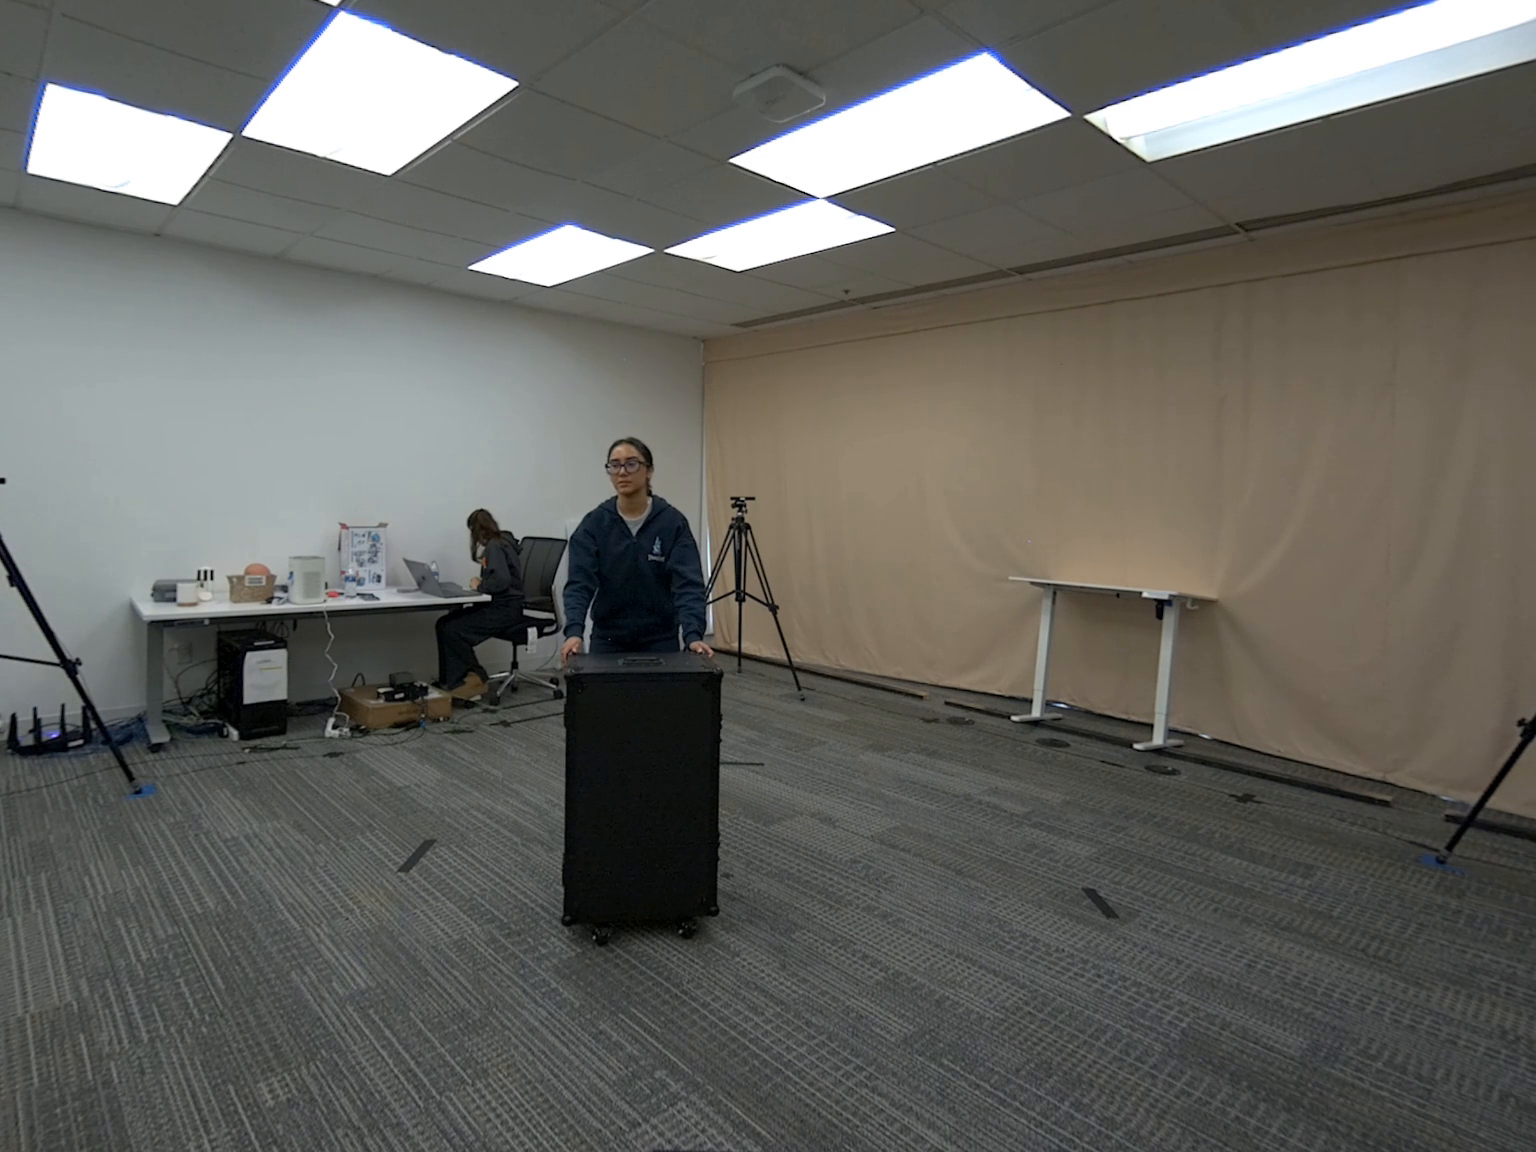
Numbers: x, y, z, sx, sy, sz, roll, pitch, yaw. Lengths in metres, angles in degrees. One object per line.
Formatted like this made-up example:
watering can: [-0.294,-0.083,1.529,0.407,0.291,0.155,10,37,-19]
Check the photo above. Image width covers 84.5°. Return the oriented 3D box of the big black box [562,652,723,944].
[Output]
big black box: [-0.431,0.708,2.781,0.517,0.860,0.400,0,2,-11]
